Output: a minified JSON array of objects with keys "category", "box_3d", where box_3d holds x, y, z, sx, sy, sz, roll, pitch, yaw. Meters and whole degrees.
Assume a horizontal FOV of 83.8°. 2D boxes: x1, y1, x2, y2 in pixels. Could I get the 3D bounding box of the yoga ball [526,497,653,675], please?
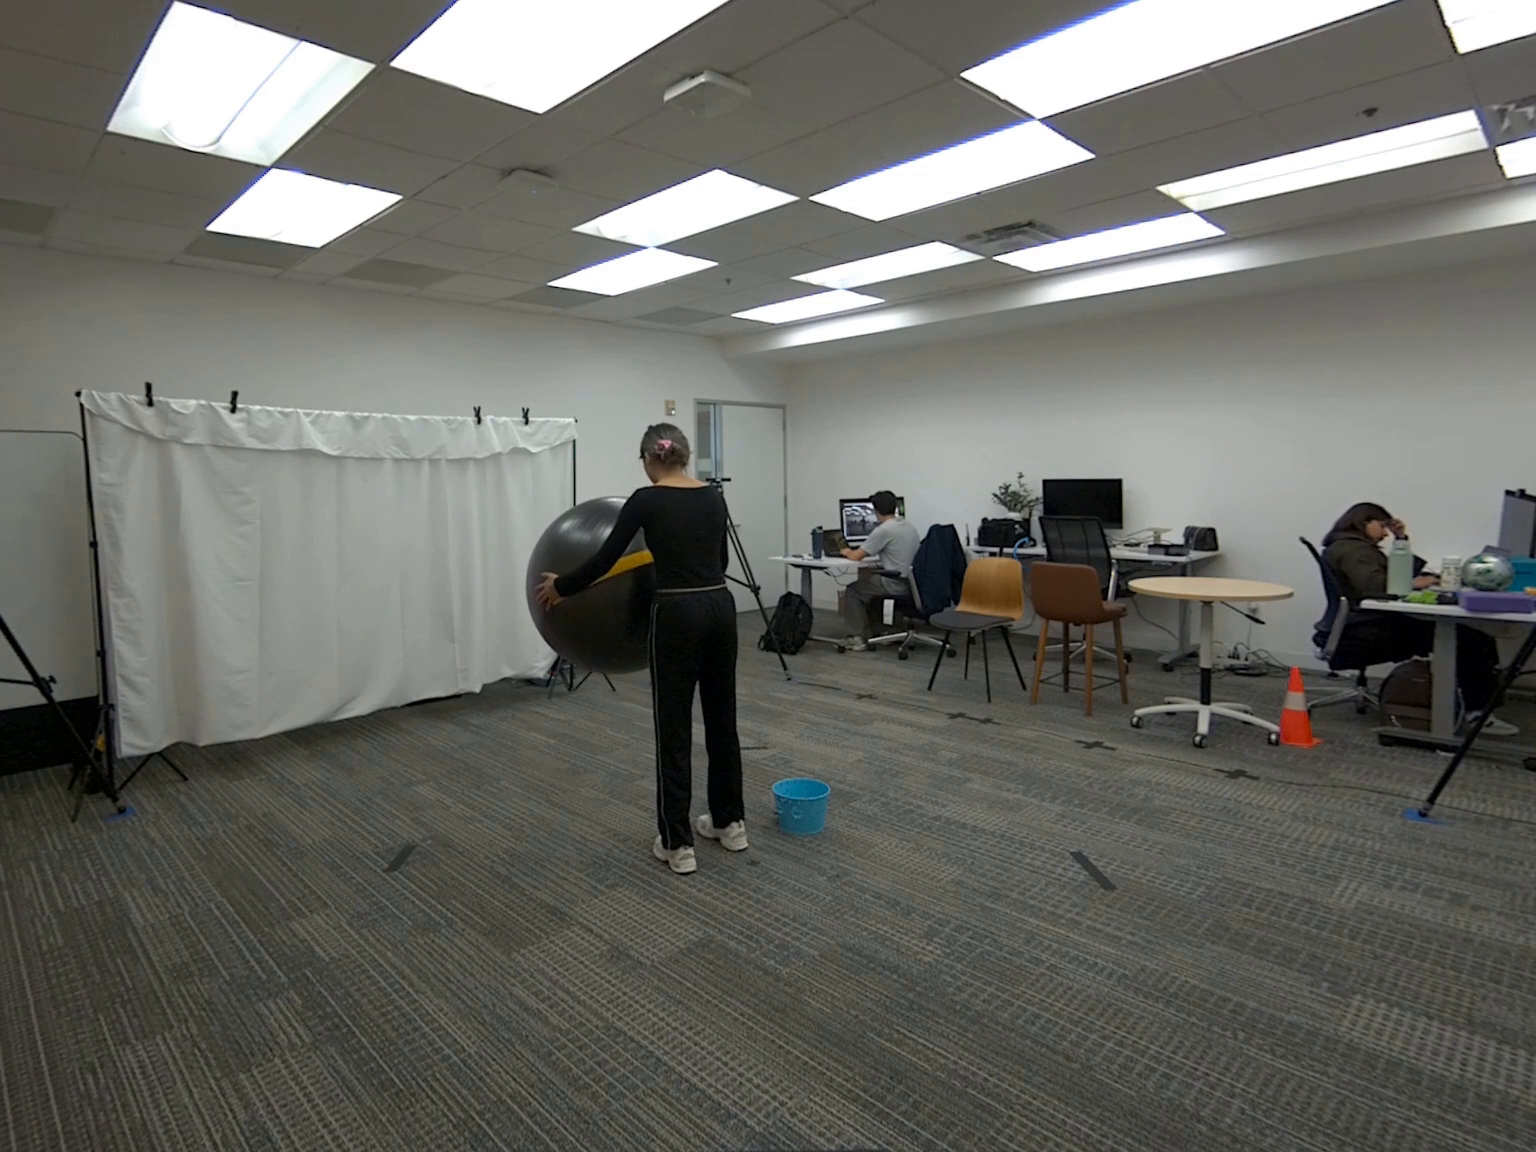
[{"category":"yoga ball","box_3d":[-0.654,0.034,3.673,0.757,0.755,0.762,-1,5,-2]}]
